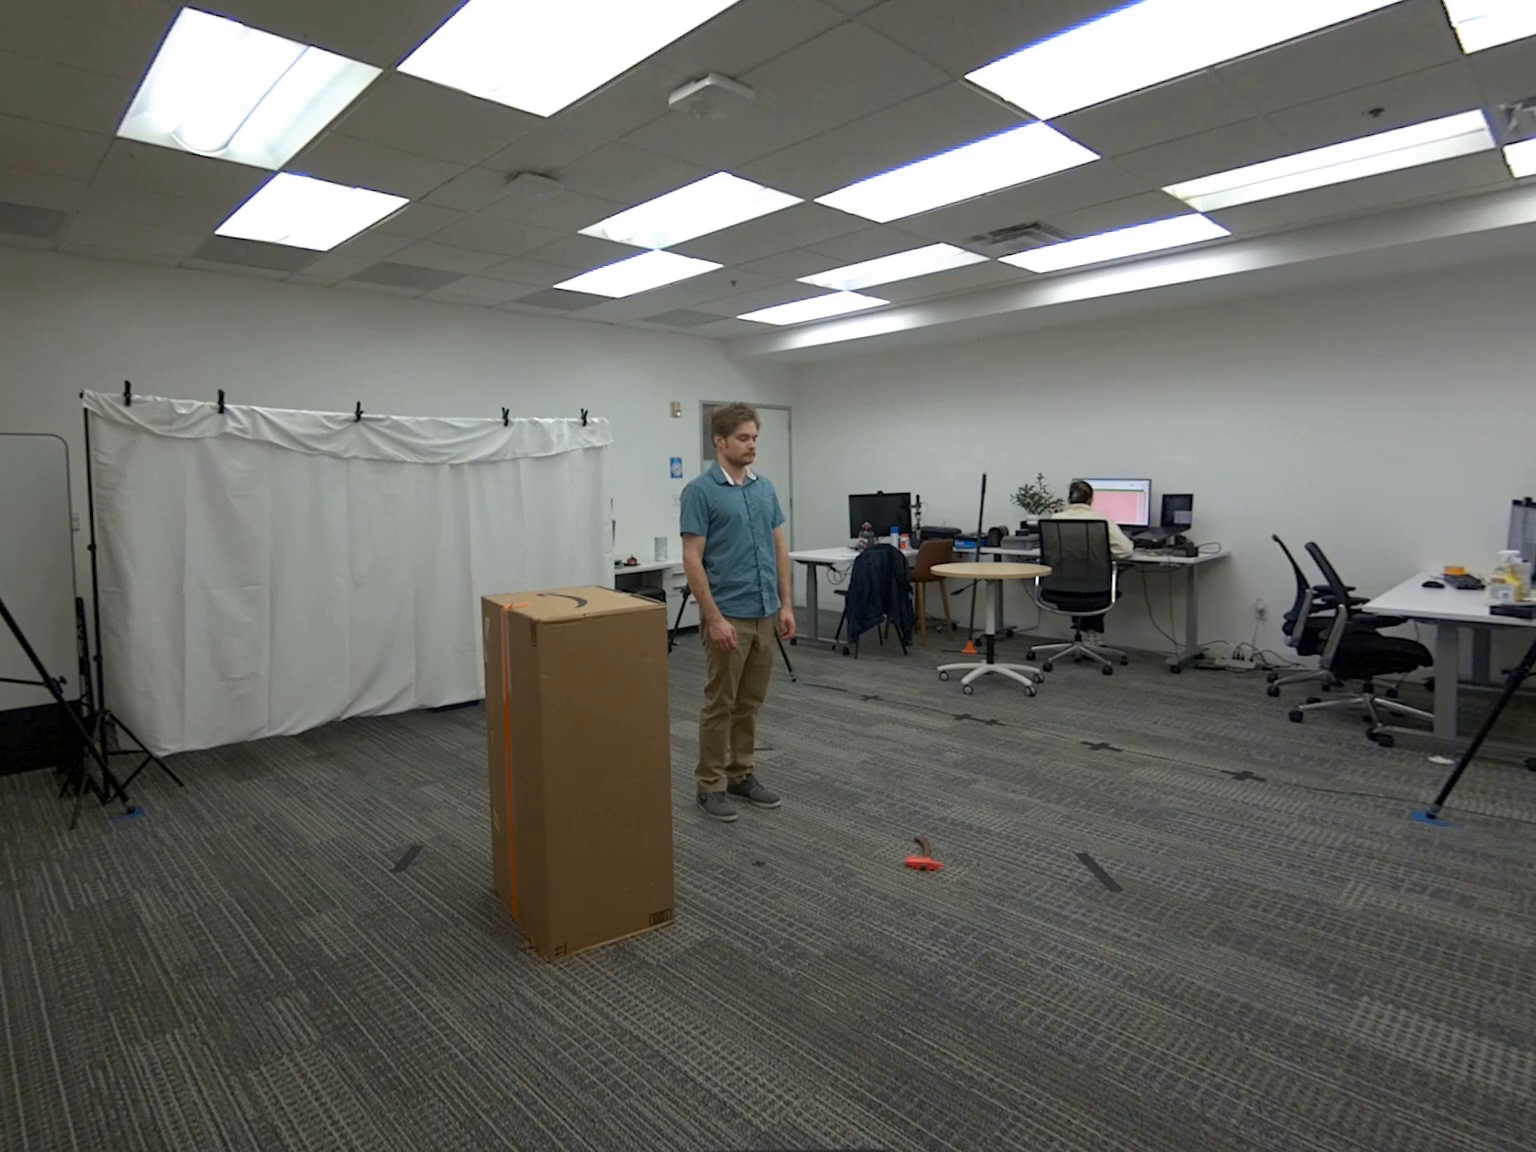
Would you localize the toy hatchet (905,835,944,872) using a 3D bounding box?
[{"bbox_3d":[0.555,1.021,3.155,0.131,0.029,0.271,-6,4,-4],"label":"toy hatchet"}]
